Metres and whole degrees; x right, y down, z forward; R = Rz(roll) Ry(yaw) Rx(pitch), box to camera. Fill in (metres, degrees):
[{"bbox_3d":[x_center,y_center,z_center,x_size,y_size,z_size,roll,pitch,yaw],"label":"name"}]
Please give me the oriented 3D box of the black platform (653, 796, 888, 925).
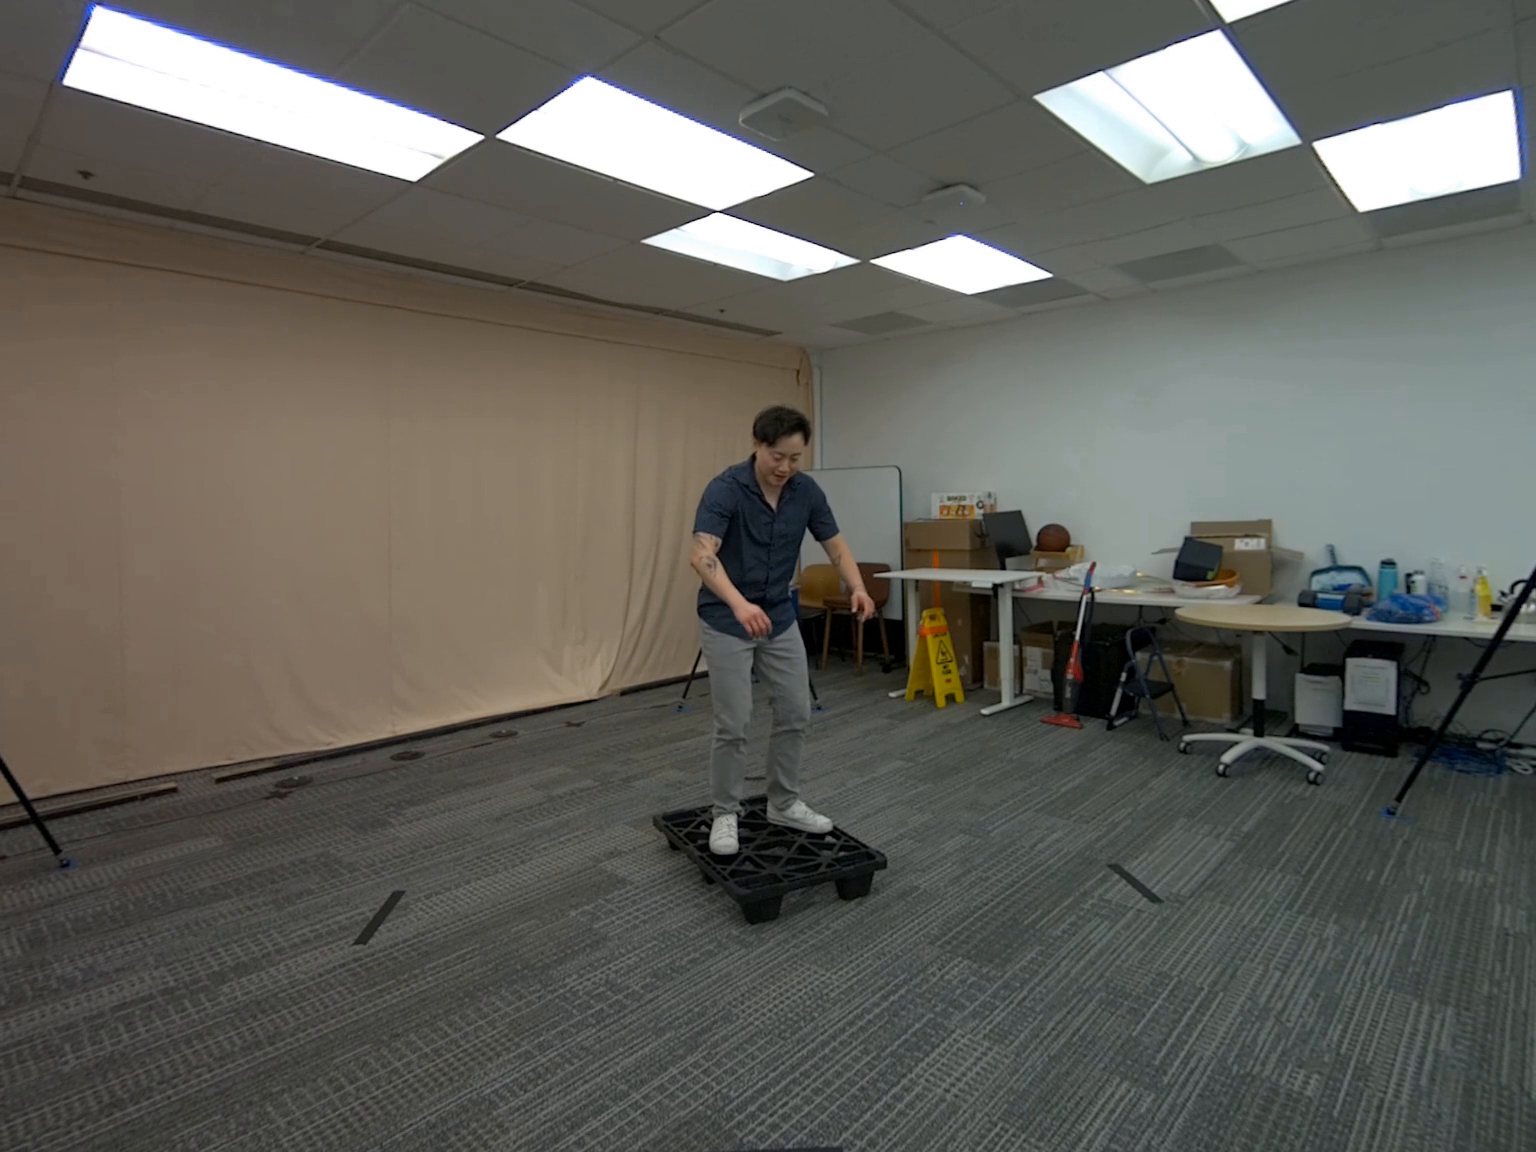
[{"bbox_3d":[-0.018,1.052,3.215,0.590,0.143,0.827,-3,5,-27],"label":"black platform"}]
